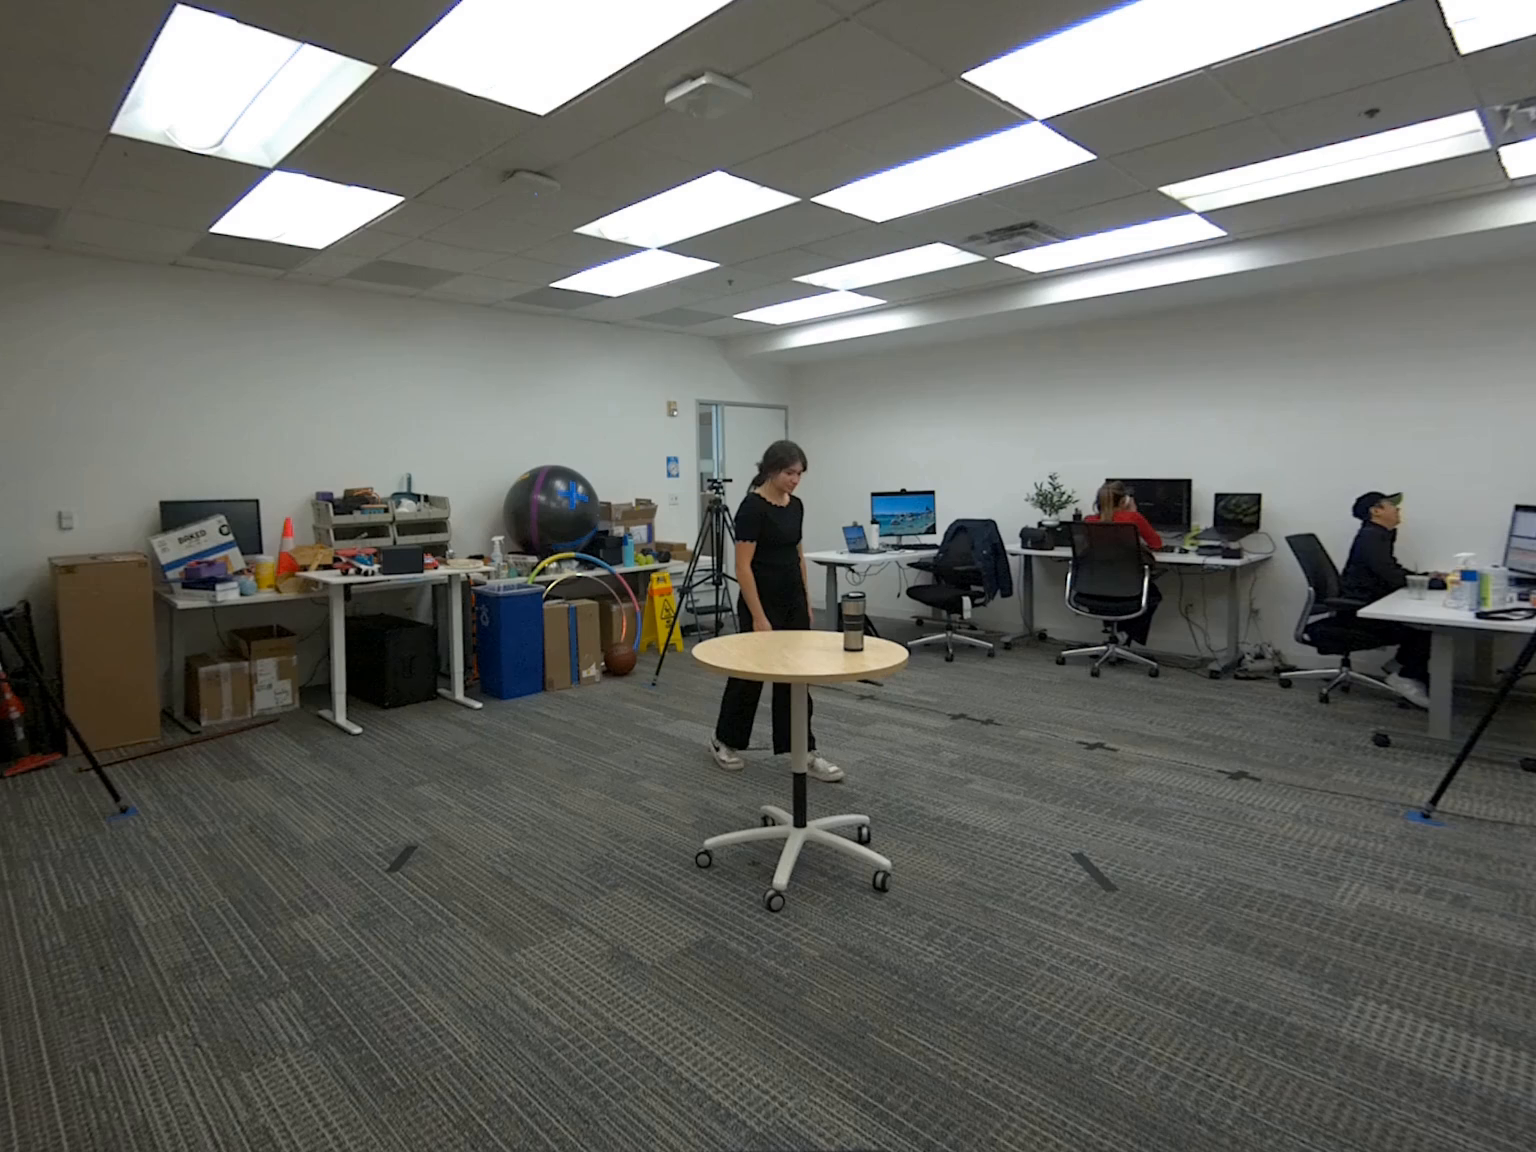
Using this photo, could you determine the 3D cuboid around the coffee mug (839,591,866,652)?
[{"bbox_3d":[0.313,0.162,3.049,0.119,0.202,0.090,-12,4,-38],"label":"coffee mug"}]
